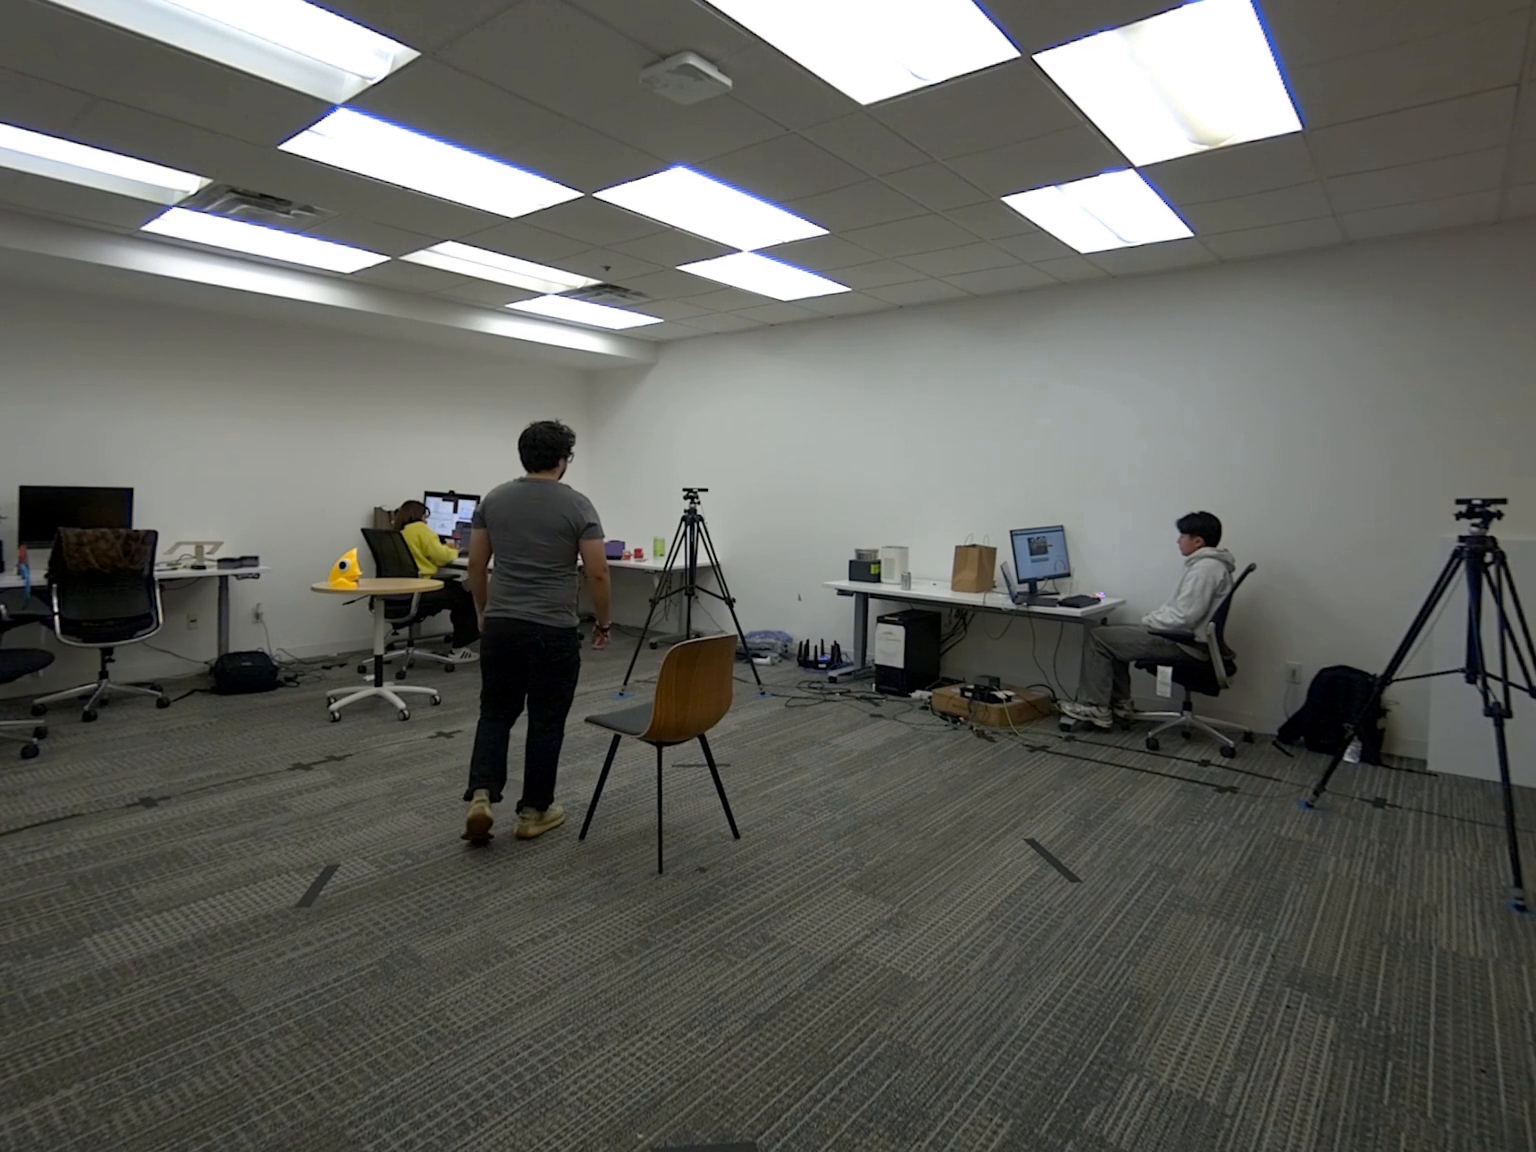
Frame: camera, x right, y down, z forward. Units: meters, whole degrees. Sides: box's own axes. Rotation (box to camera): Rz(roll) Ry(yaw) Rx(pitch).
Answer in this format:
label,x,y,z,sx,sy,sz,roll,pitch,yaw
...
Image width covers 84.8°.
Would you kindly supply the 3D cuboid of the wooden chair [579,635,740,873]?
label,x,y,z,sx,sy,sz,roll,pitch,yaw
wooden chair,-0.436,0.617,3.350,0.542,0.873,0.464,9,8,39
